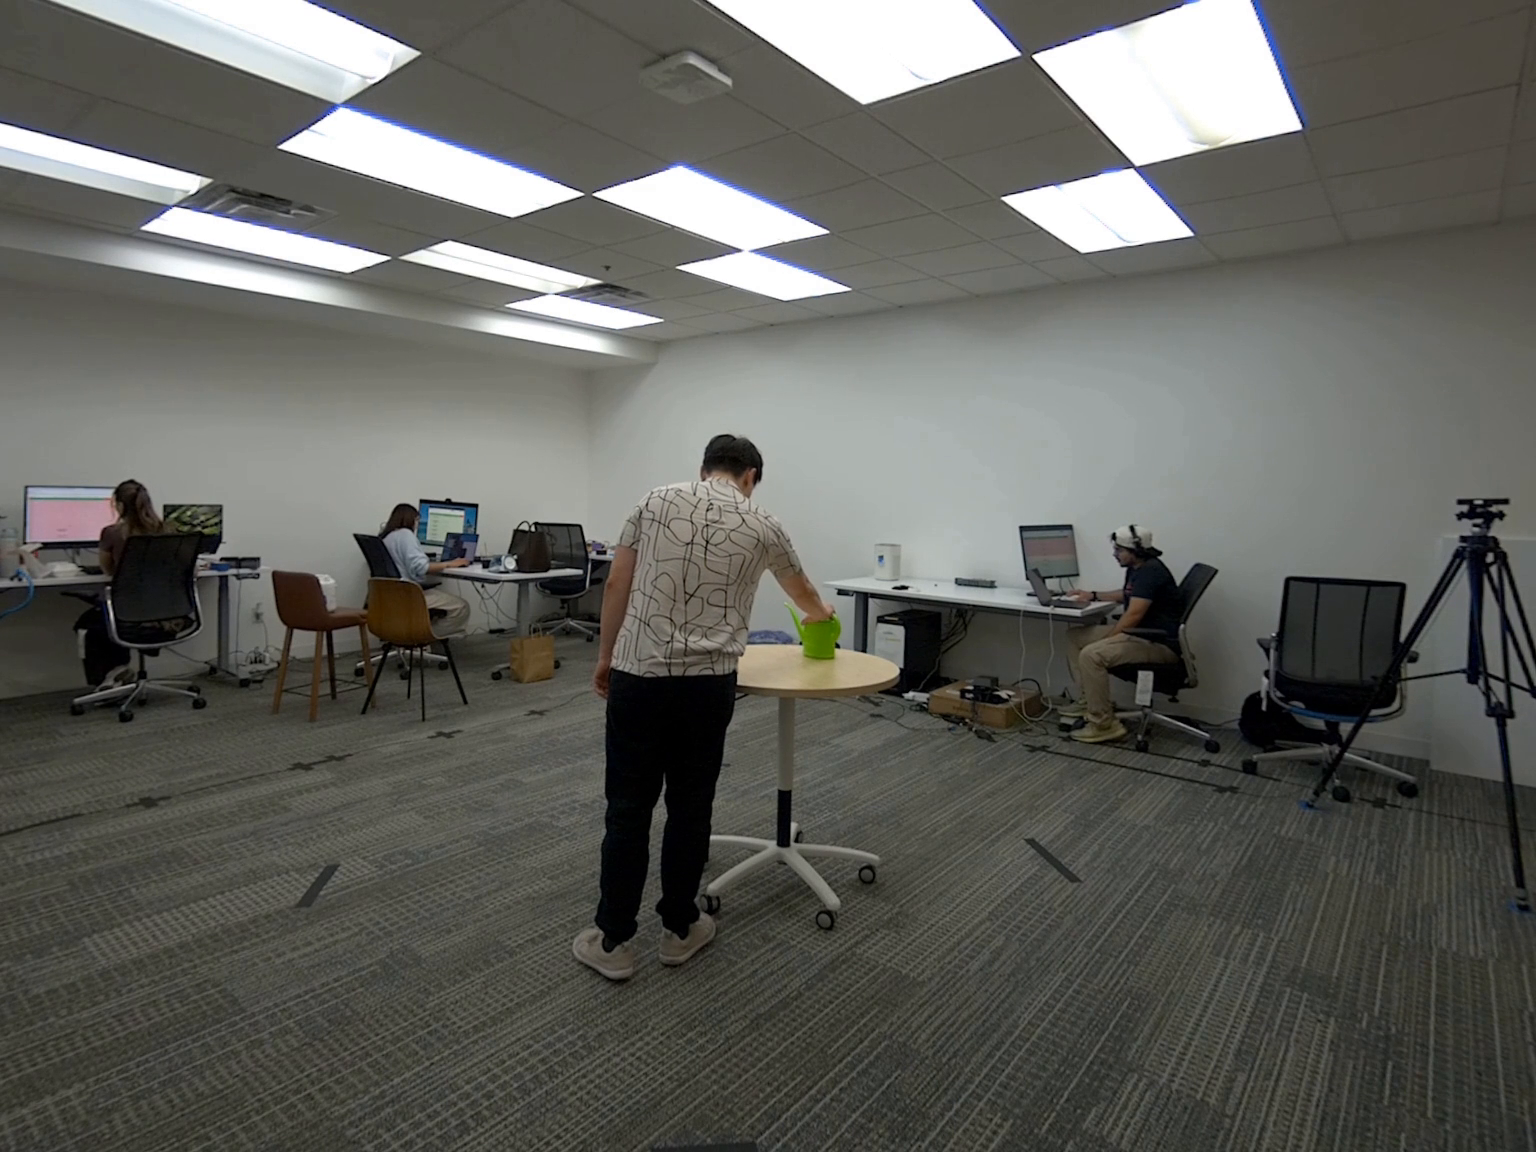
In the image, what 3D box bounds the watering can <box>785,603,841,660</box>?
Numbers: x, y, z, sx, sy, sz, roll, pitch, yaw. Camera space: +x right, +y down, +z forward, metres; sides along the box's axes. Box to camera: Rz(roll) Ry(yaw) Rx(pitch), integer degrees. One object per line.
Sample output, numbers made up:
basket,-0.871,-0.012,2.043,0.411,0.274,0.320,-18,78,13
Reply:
watering can,0.158,0.201,3.158,0.095,0.176,0.287,-2,8,-28
